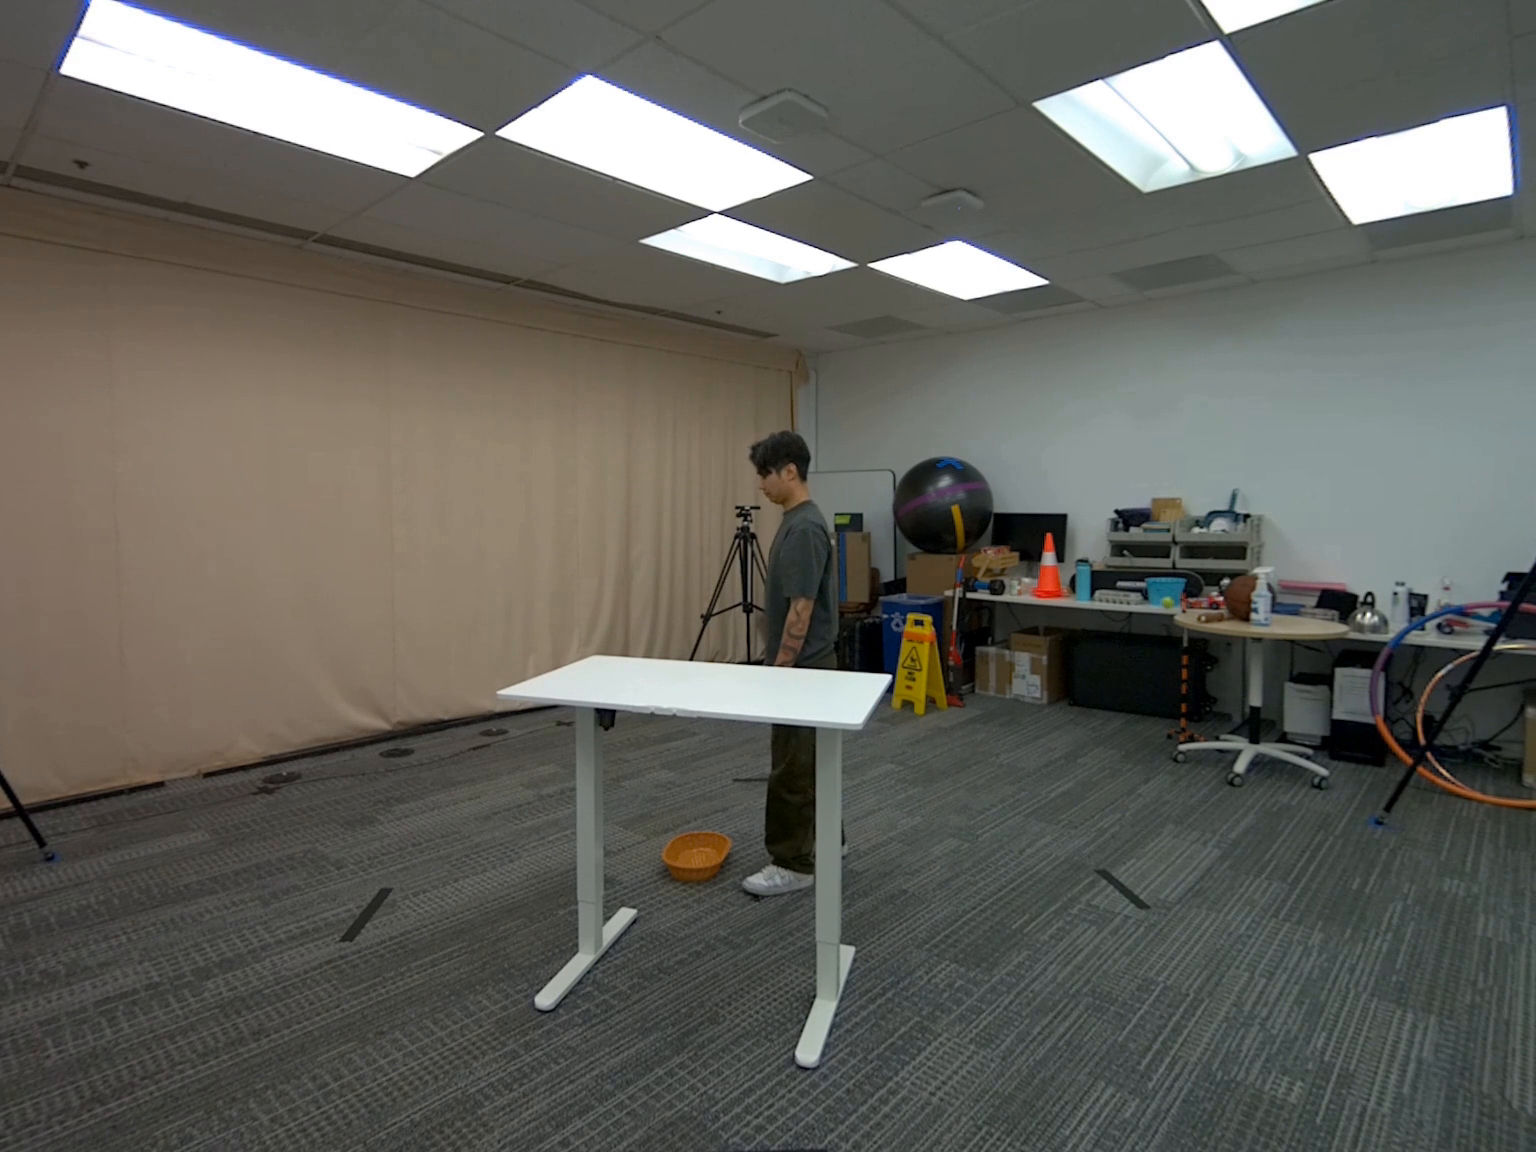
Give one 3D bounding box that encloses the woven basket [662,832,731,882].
[{"bbox_3d":[-0.275,1.087,3.261,0.257,0.073,0.345,0,5,15],"label":"woven basket"}]
